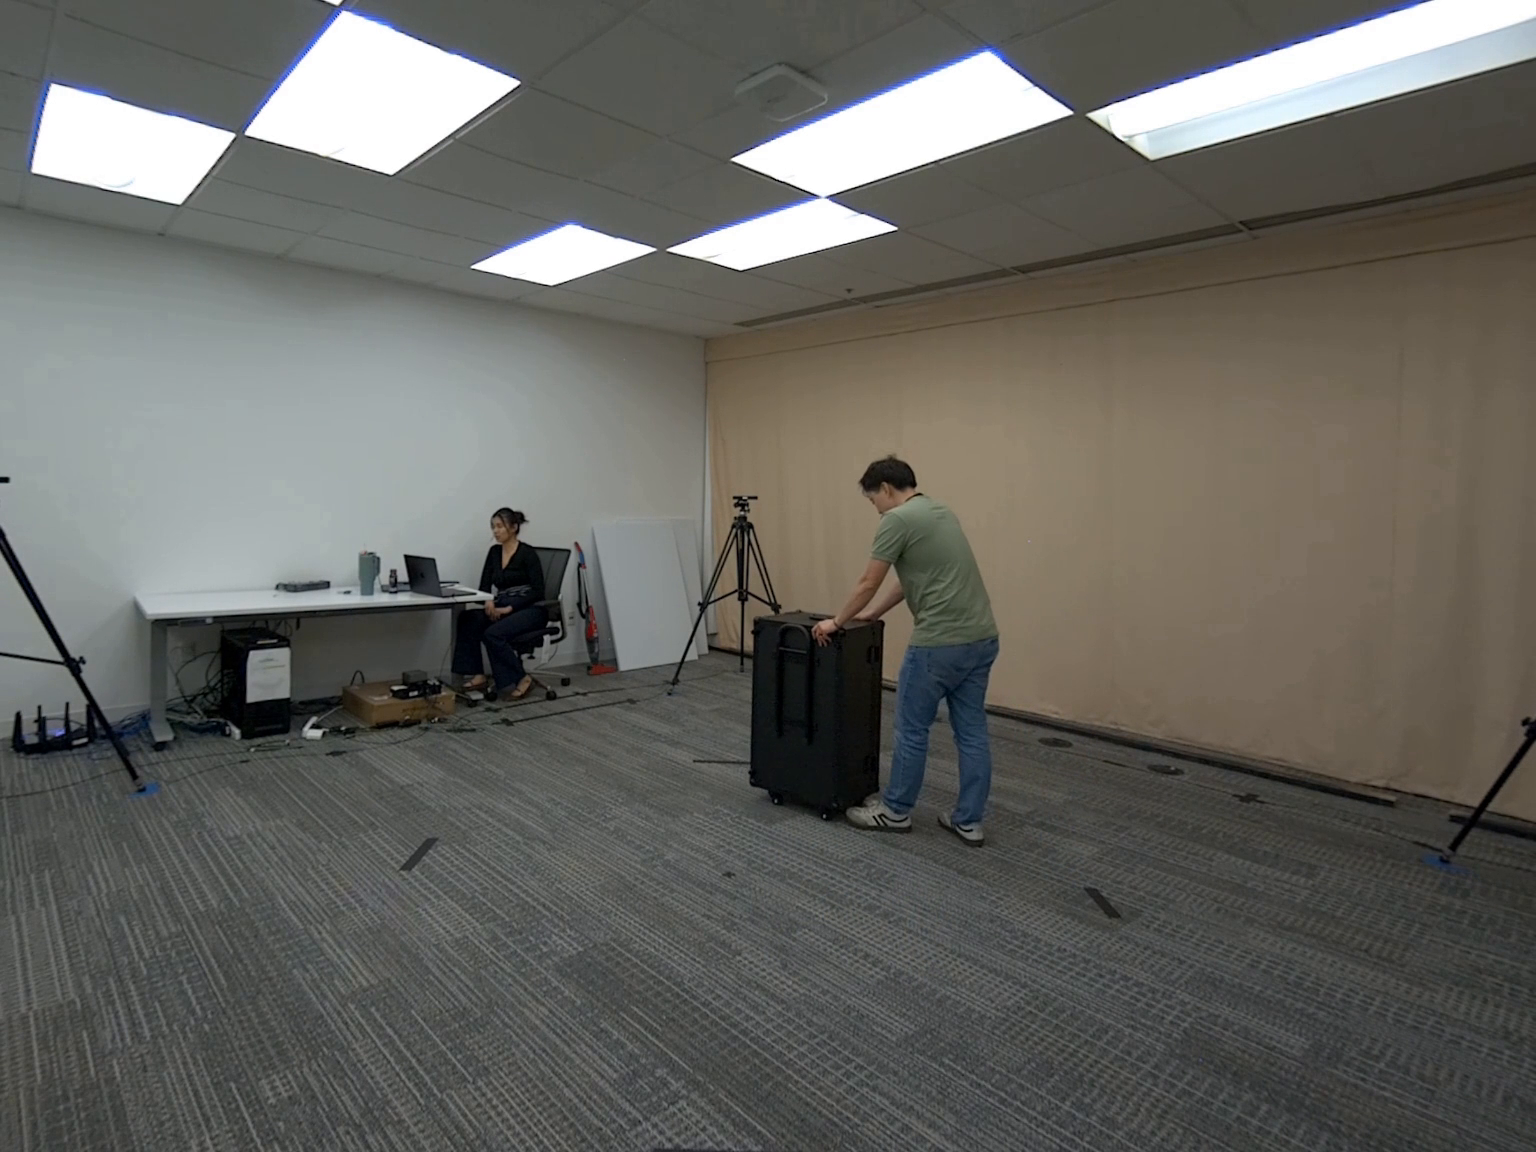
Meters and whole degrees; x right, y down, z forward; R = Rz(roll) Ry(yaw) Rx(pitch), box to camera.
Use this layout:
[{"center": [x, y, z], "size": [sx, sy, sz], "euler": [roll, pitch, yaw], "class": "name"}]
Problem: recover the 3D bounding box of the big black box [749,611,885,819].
[{"center": [0.209, 0.623, 3.848], "size": [0.534, 0.859, 0.388], "euler": [4, 5, 38], "class": "big black box"}]
